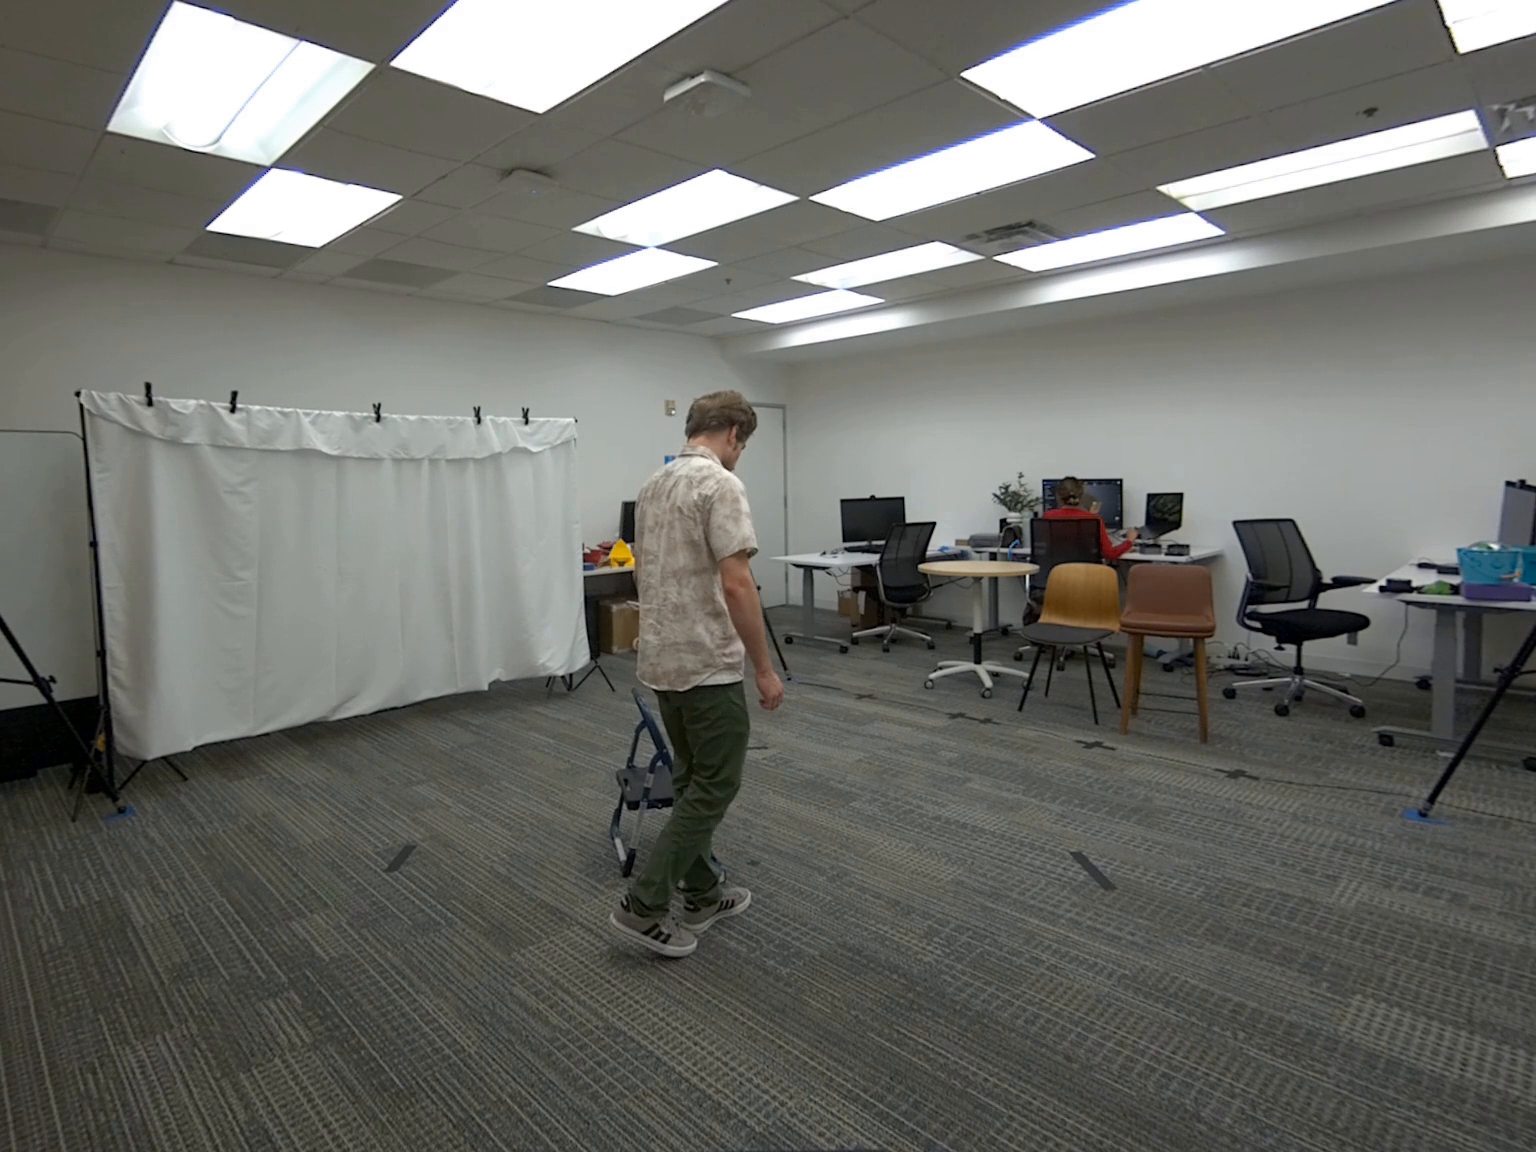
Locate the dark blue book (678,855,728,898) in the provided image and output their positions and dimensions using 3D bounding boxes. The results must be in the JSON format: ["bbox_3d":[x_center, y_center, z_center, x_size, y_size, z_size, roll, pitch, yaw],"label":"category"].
[{"bbox_3d":[-0.276,1.037,3.018,0.159,0.045,0.252,-5,8,-32],"label":"dark blue book"}]
